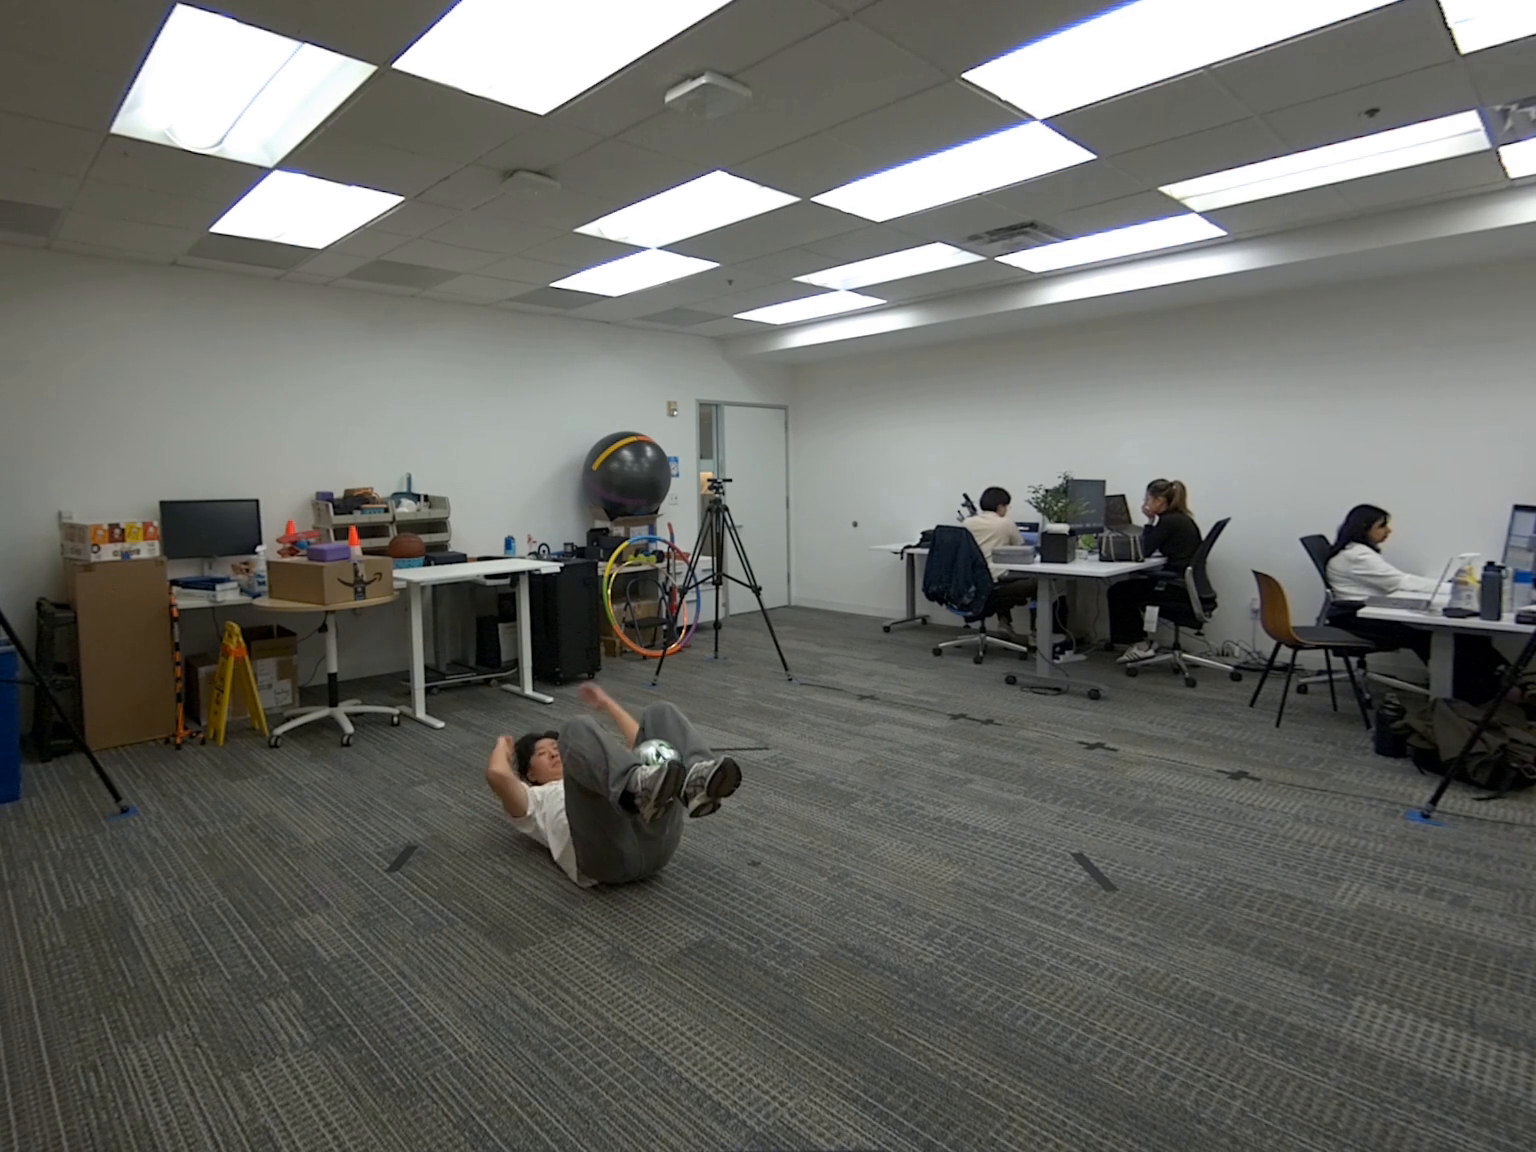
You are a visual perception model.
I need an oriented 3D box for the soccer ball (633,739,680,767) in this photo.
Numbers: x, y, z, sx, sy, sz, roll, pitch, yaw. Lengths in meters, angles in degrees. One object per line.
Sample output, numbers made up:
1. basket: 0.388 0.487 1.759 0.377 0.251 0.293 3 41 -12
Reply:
1. soccer ball: -0.374 0.632 2.755 0.187 0.187 0.188 -1 5 -2
